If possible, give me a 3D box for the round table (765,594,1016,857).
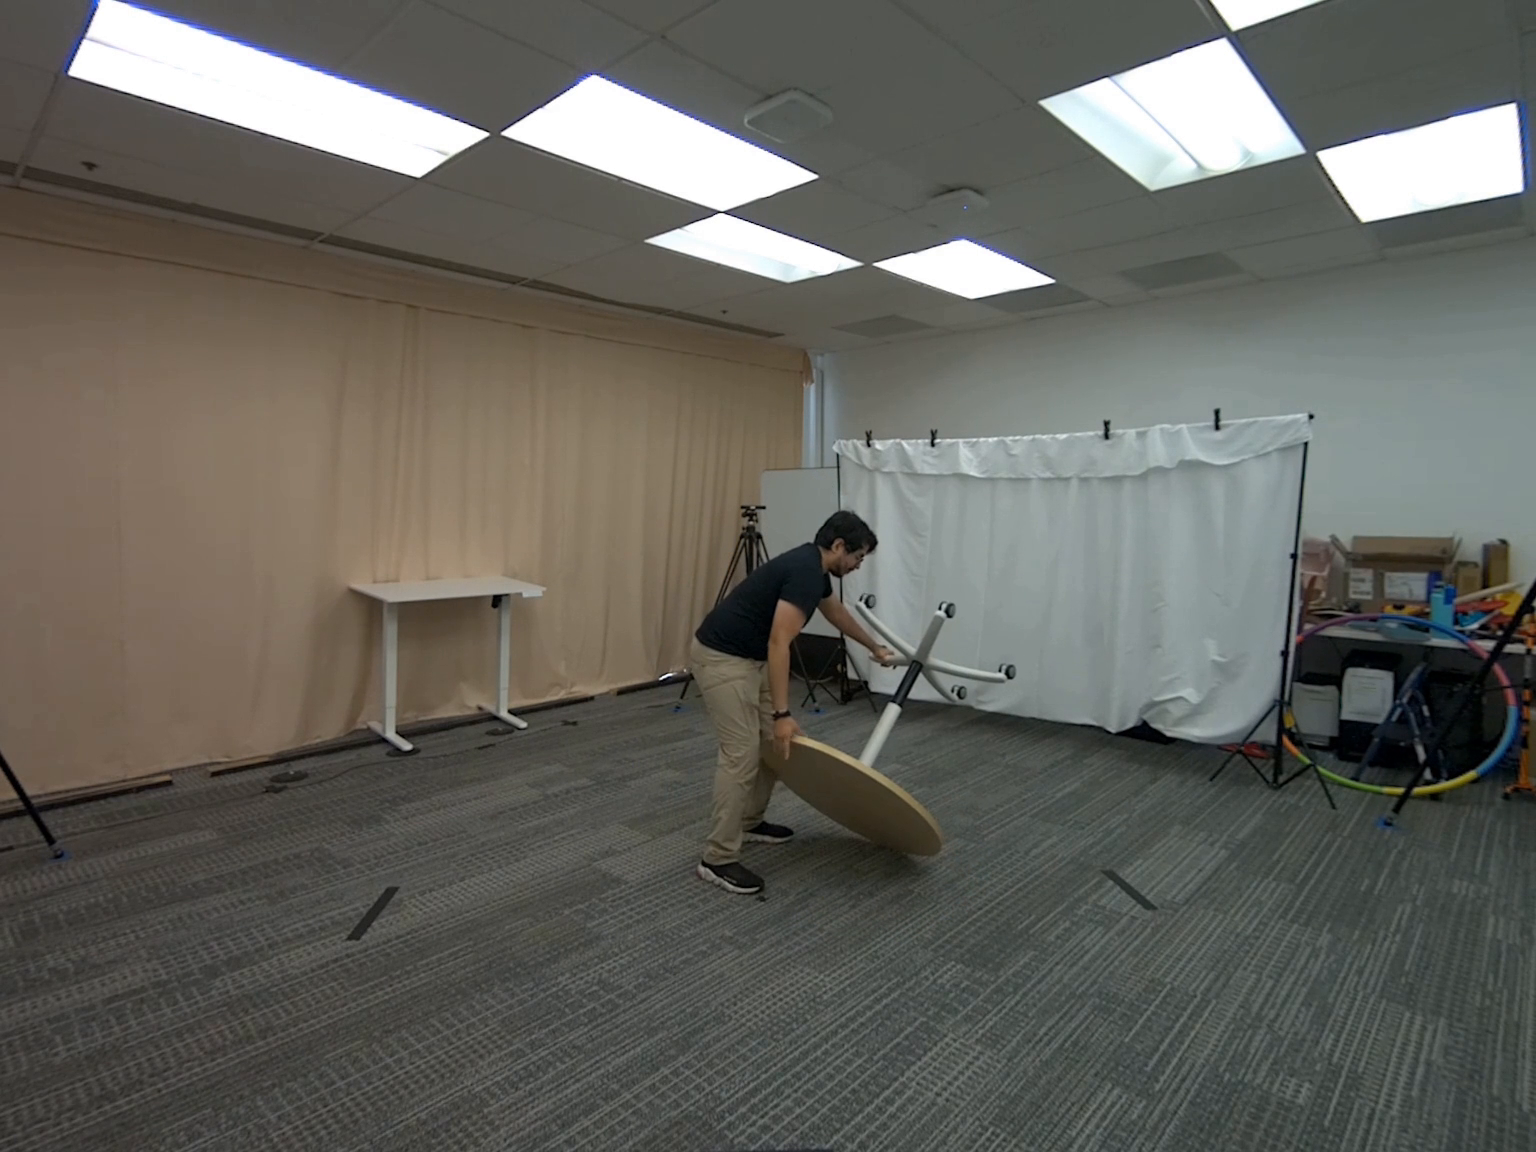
[{"bbox_3d":[0.510,0.562,3.407,0.799,0.784,0.773,28,-27,13],"label":"round table"}]
